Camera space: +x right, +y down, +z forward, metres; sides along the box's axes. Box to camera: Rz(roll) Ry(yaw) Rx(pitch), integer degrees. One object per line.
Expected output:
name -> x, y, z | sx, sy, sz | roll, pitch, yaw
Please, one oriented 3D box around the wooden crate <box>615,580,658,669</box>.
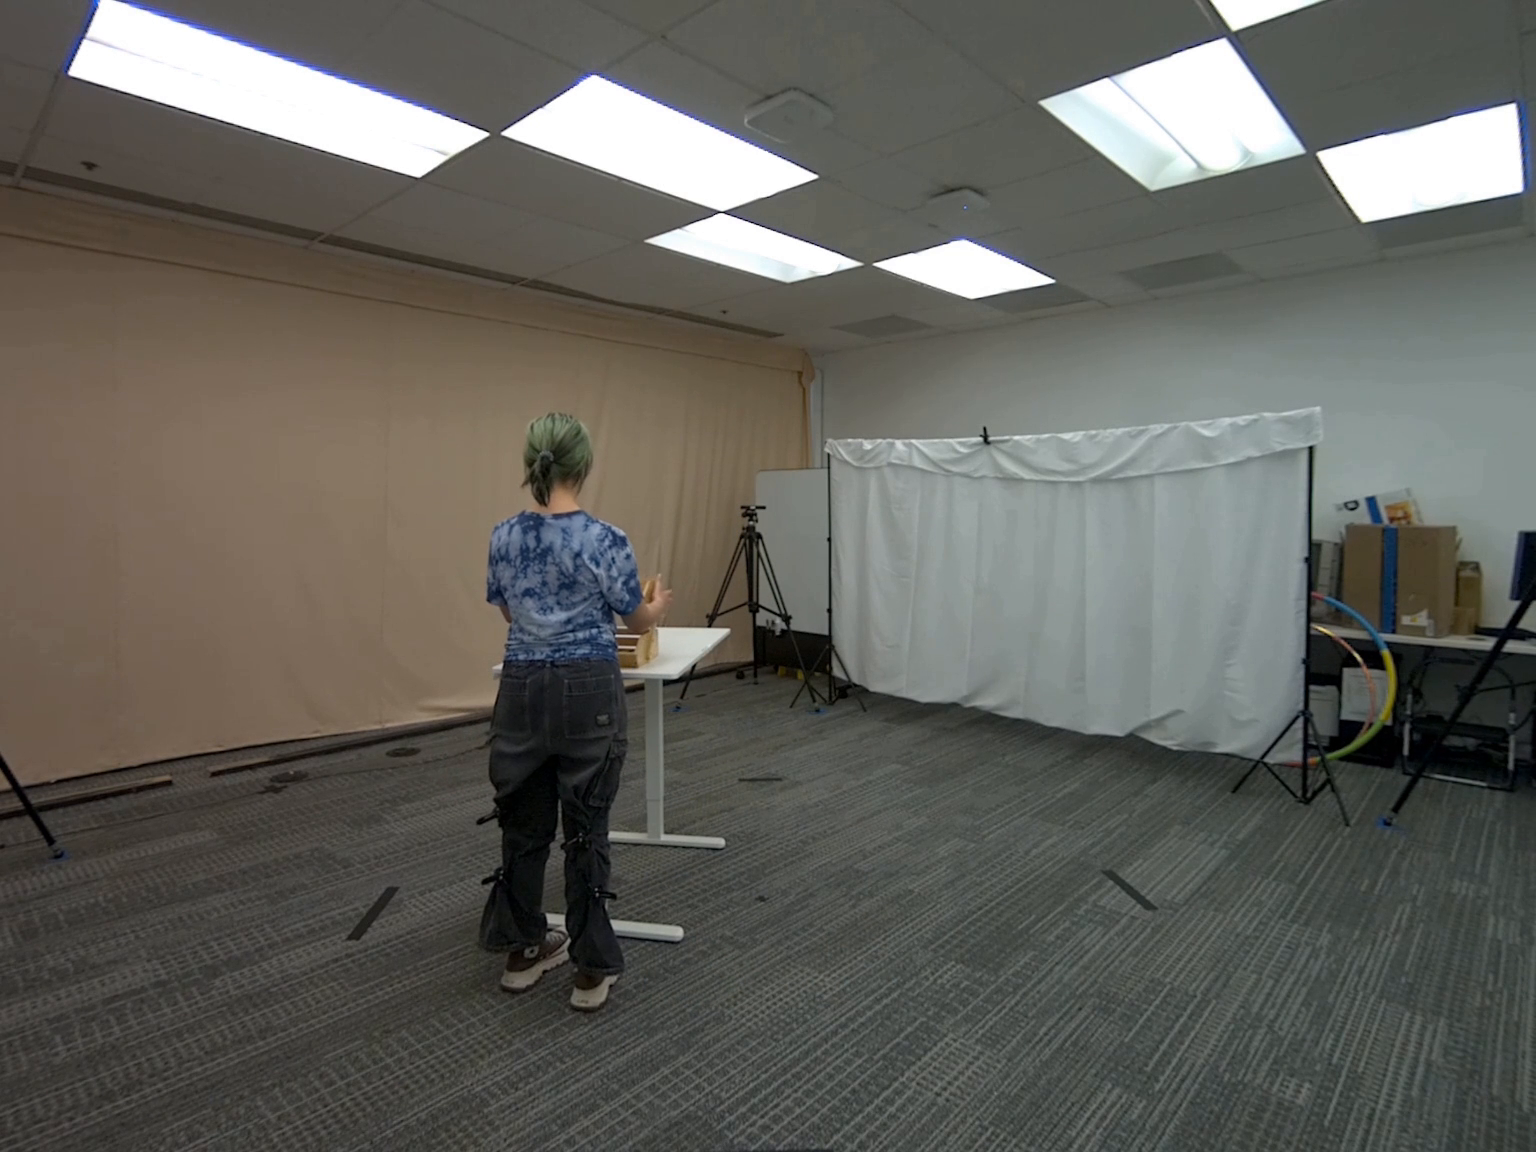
wooden crate -> -0.541, 0.145, 2.795 | 0.328, 0.273, 0.299 | 0, 1, 9
